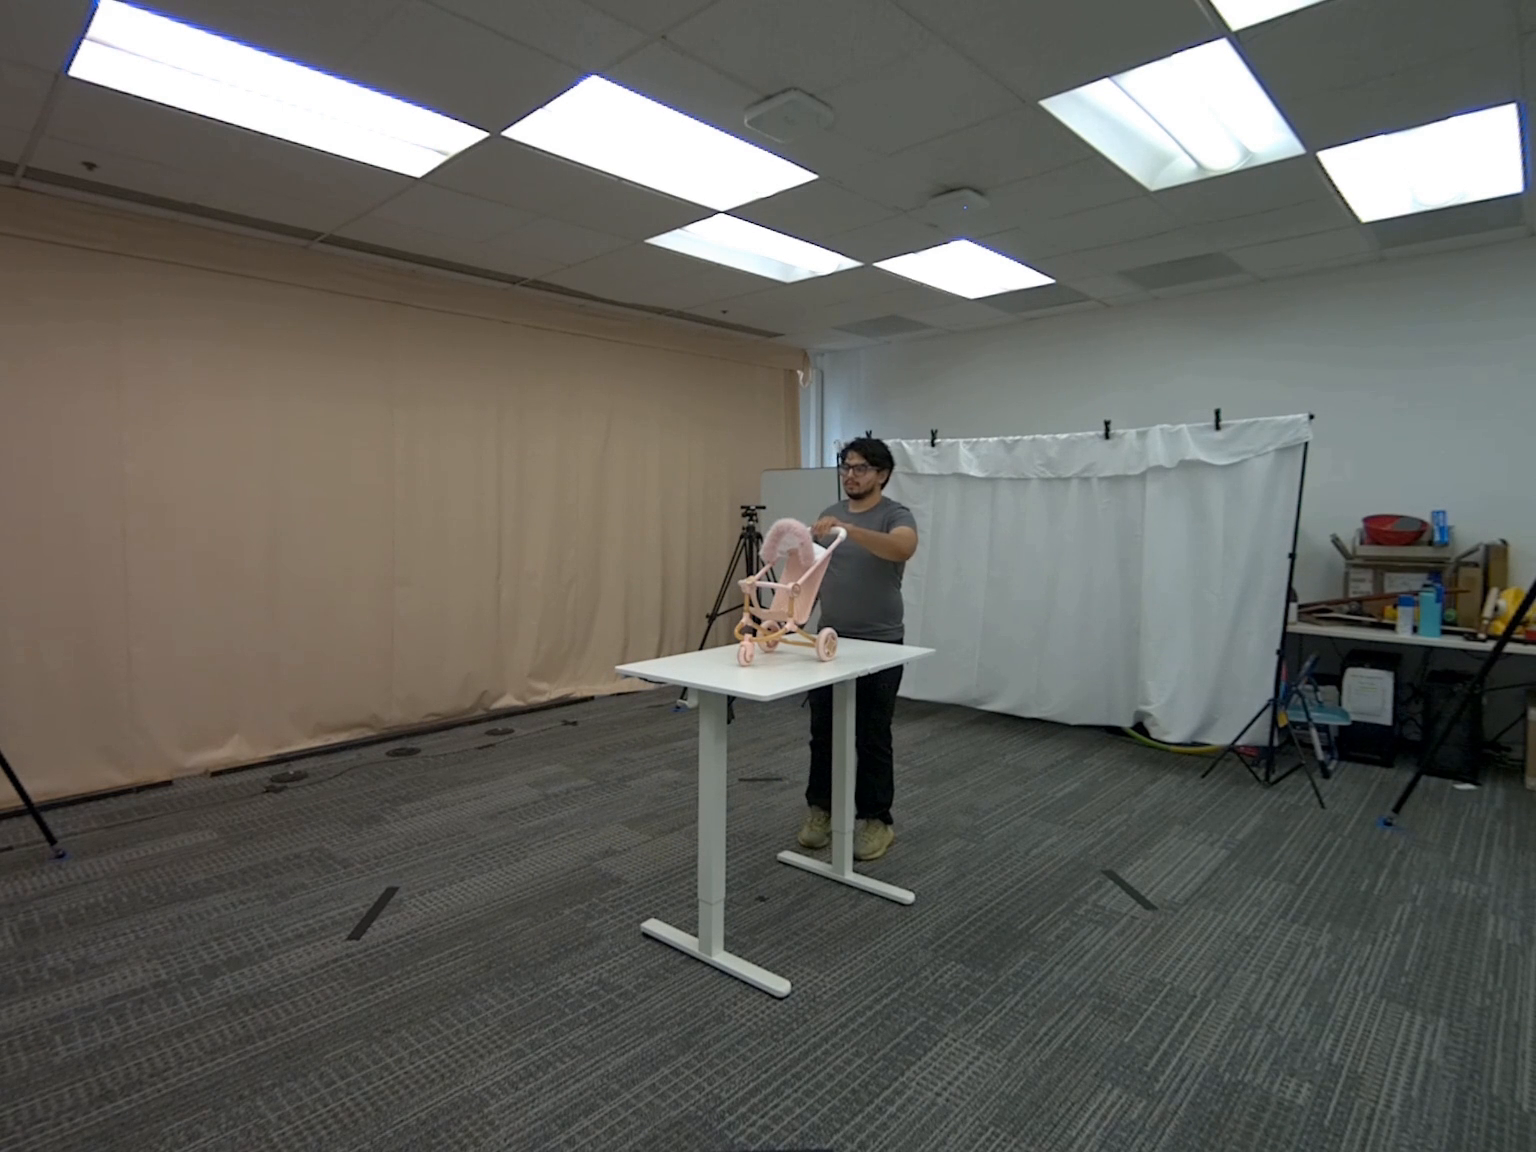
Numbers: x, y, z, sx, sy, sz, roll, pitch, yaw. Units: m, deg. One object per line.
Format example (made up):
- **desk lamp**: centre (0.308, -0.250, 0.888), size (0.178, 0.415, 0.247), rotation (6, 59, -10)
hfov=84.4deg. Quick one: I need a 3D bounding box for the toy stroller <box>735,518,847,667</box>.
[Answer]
- **toy stroller**: centre (0.059, 0.051, 2.784), size (0.291, 0.537, 0.329), rotation (2, -12, 46)
